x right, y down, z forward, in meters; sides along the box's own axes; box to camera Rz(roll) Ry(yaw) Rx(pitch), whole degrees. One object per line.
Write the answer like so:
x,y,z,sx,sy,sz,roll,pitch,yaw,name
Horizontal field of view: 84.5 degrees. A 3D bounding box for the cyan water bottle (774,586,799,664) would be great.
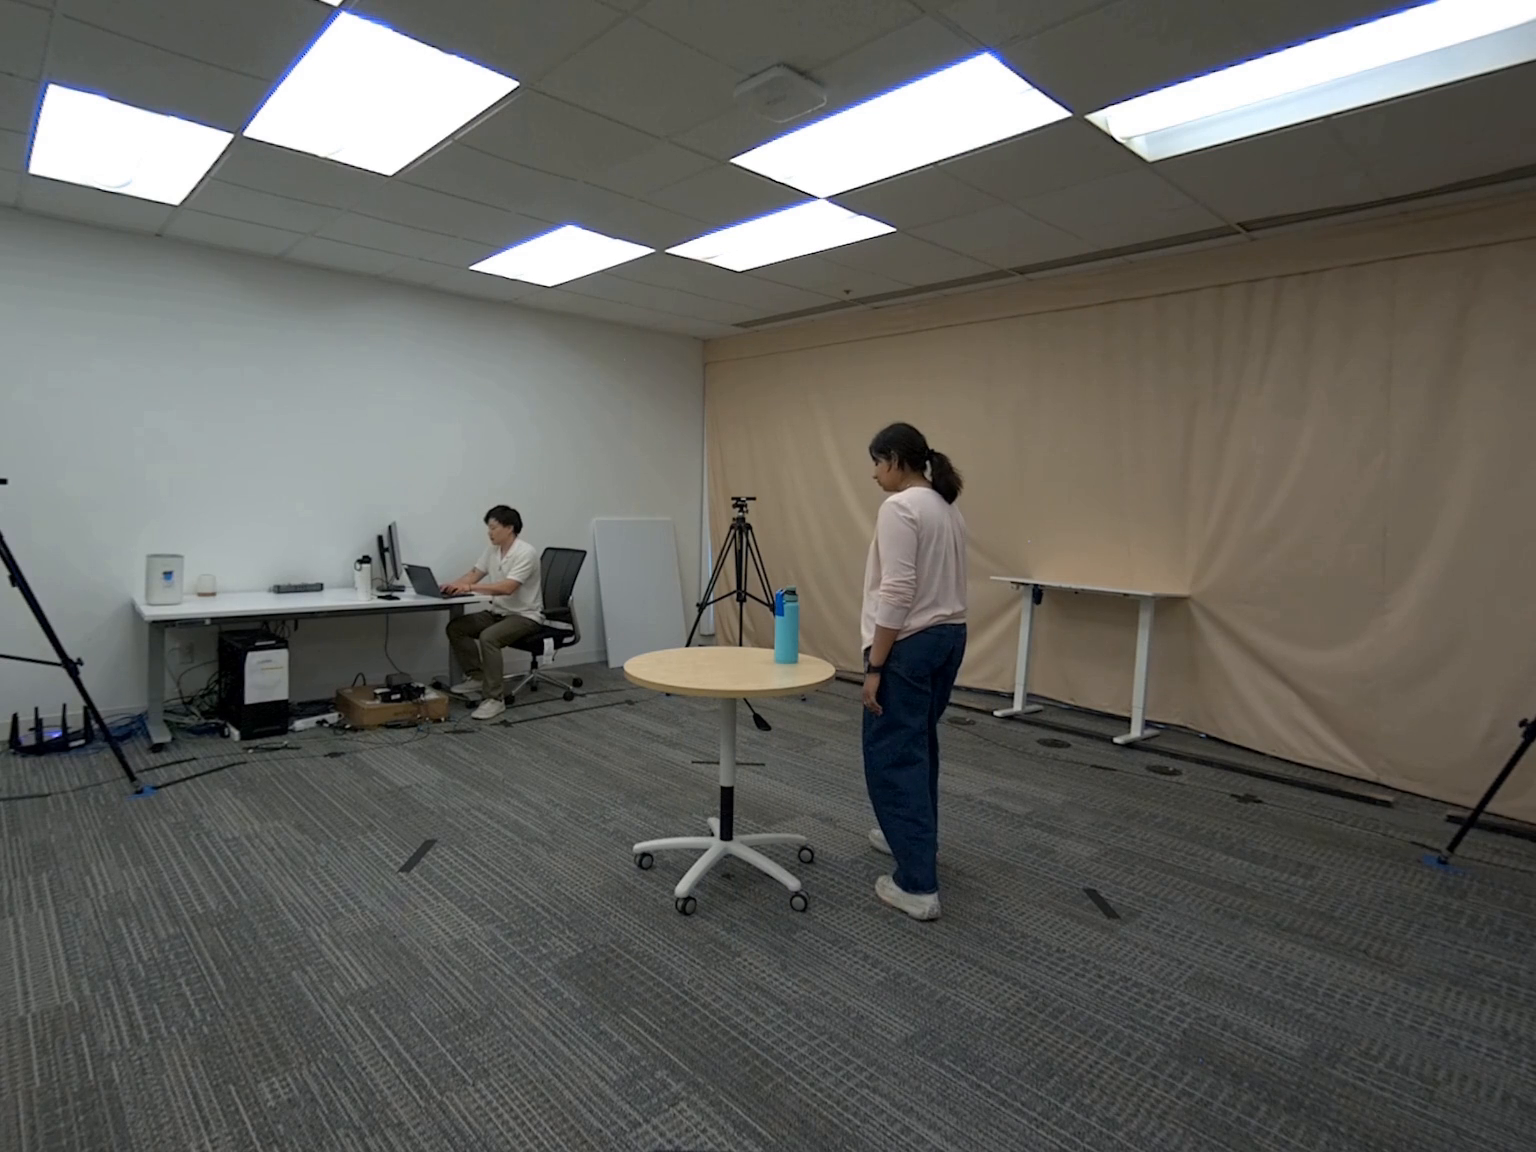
0.066,0.181,3.154,0.092,0.283,0.092,0,3,-1,cyan water bottle
